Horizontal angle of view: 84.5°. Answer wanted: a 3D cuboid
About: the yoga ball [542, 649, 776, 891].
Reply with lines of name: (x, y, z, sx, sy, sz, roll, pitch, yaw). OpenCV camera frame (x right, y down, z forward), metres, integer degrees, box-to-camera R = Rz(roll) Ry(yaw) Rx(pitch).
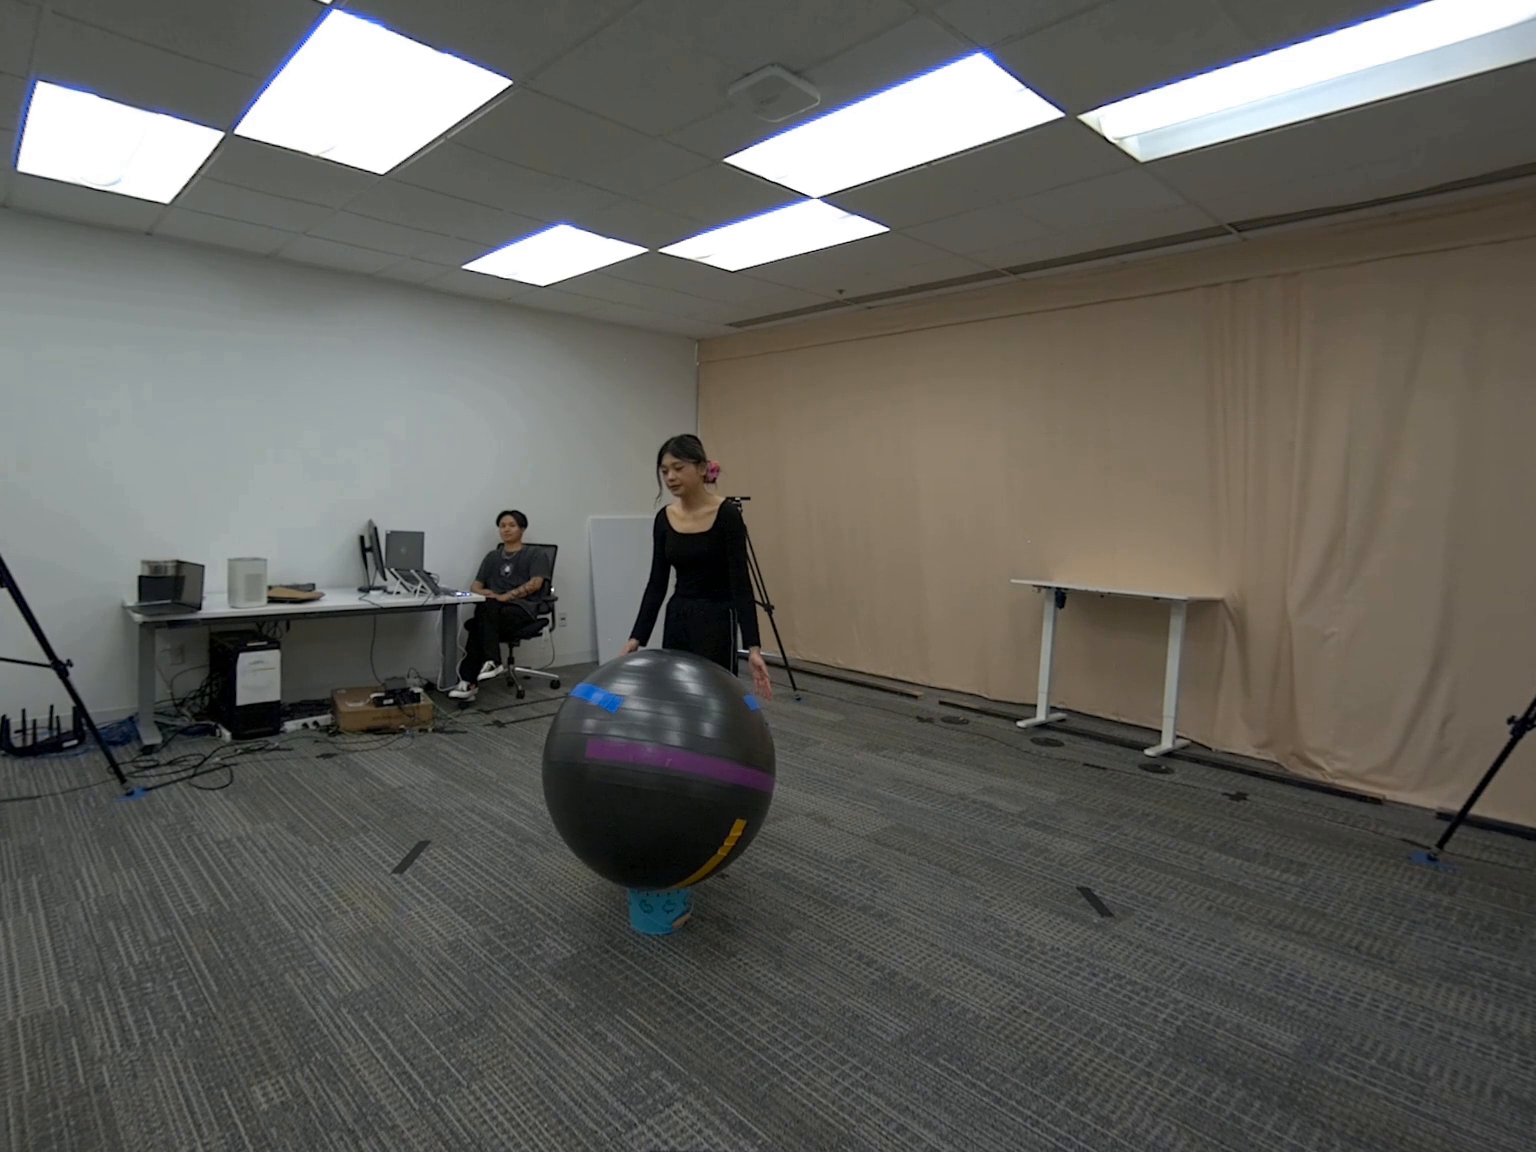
yoga ball: (-0.359, 0.624, 2.746, 0.757, 0.756, 0.761, 1, 4, -1)
